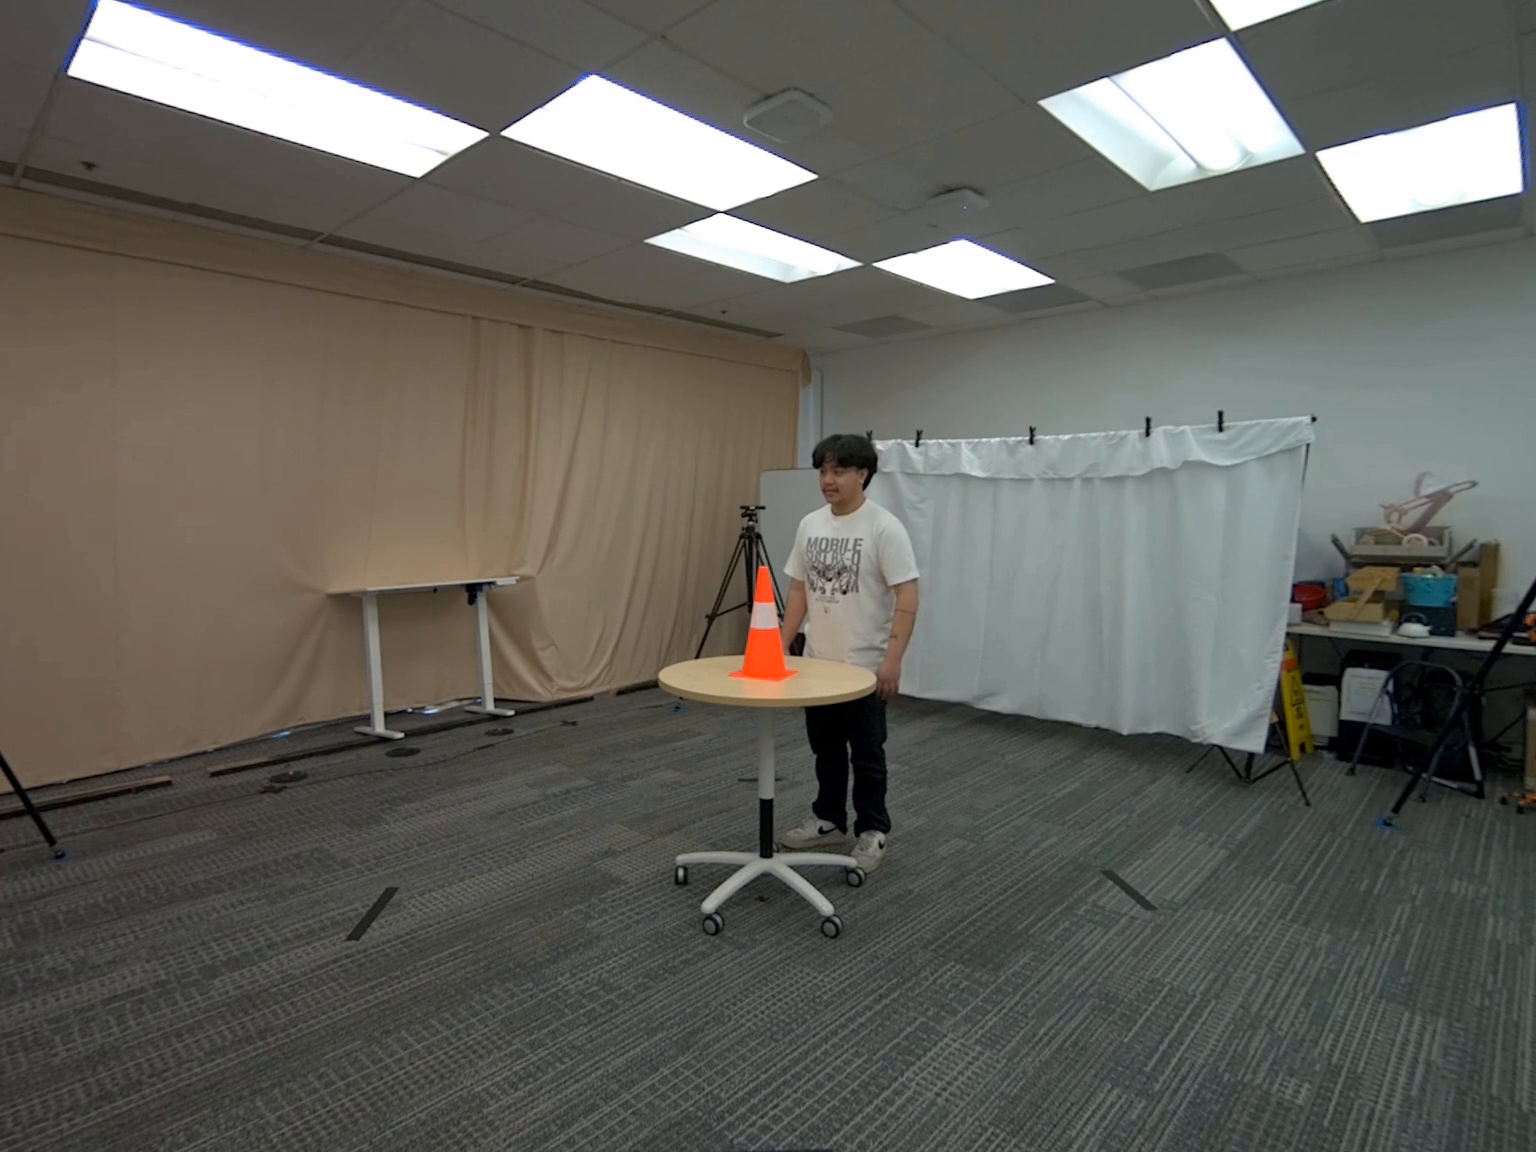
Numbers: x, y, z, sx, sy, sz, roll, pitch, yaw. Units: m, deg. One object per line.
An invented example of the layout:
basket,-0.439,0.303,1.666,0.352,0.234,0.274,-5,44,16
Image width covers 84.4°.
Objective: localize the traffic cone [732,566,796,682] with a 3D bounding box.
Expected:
traffic cone,-0.013,0.160,2.977,0.210,0.383,0.198,1,2,25
